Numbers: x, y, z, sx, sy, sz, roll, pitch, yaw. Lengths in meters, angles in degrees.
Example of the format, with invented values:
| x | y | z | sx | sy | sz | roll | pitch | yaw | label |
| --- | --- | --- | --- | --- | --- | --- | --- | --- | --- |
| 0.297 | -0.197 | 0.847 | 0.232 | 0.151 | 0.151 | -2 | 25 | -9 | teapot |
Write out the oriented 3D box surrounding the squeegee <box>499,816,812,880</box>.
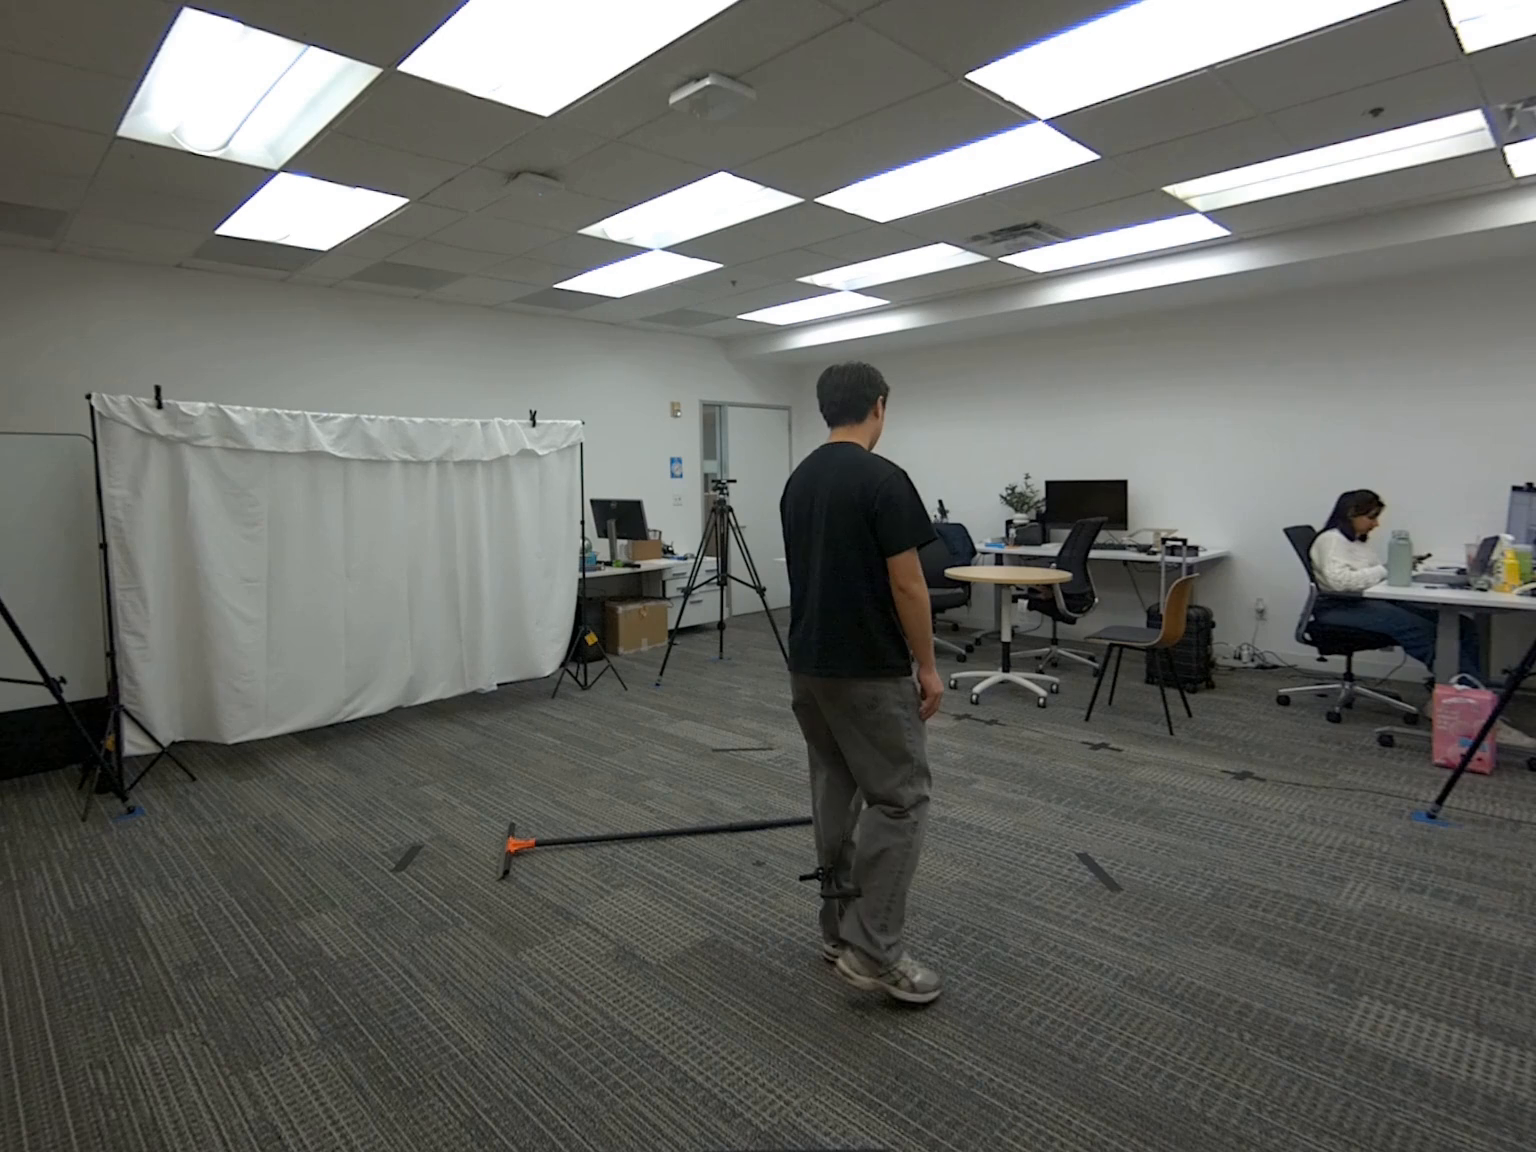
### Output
| x | y | z | sx | sy | sz | roll | pitch | yaw | label |
| --- | --- | --- | --- | --- | --- | --- | --- | --- | --- |
| -0.253 | 0.978 | 3.368 | 1.520 | 0.053 | 0.444 | -3 | 7 | -12 | squeegee |
